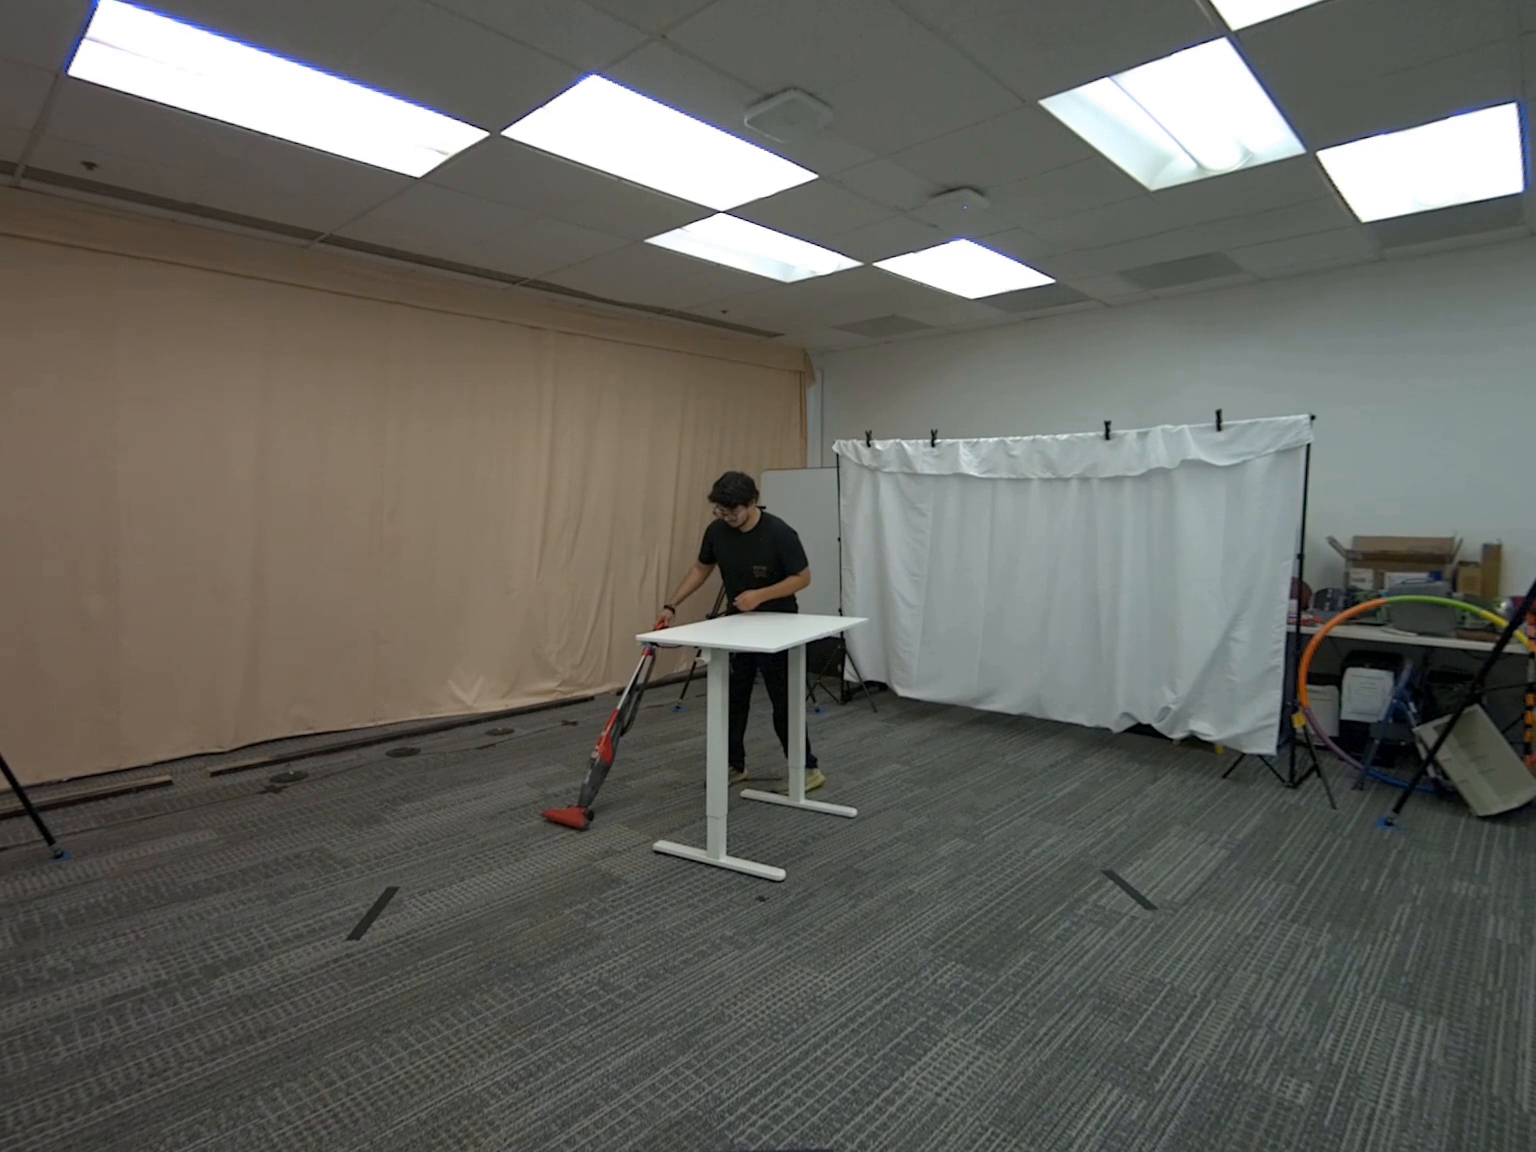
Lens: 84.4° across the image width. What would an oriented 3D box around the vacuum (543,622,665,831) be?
[{"bbox_3d":[-0.678,0.651,3.964,0.260,1.052,0.139,2,-35,35],"label":"vacuum"}]
